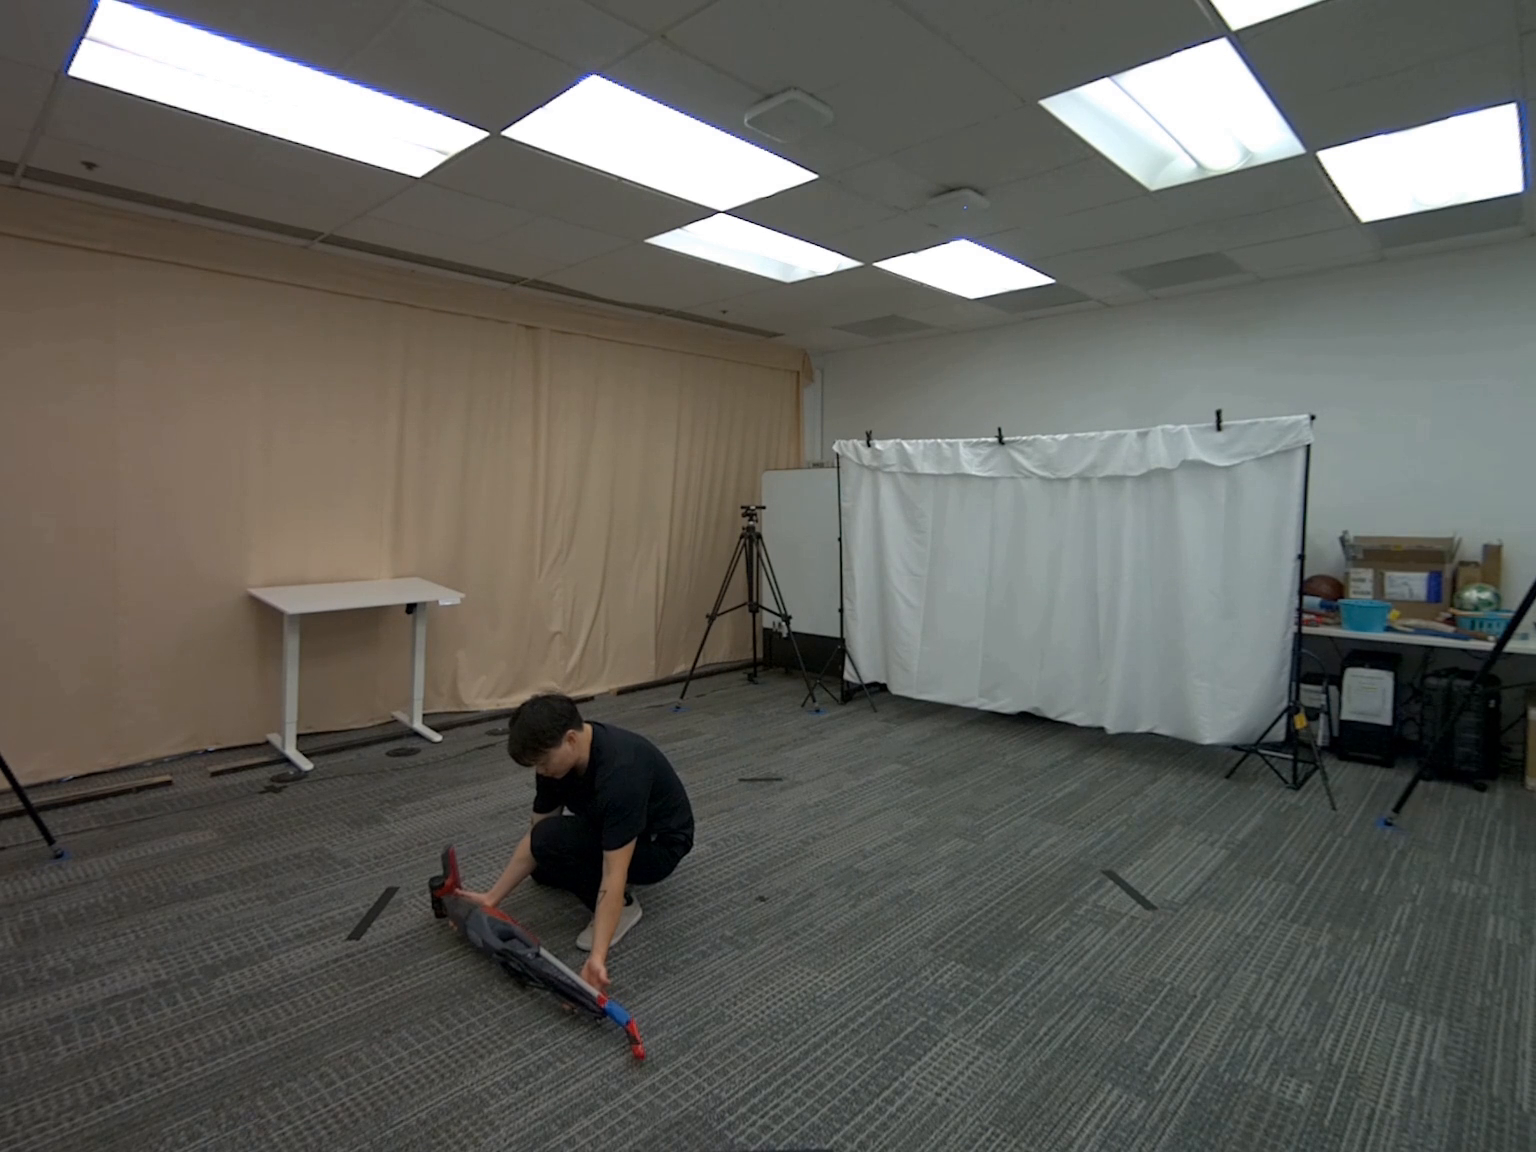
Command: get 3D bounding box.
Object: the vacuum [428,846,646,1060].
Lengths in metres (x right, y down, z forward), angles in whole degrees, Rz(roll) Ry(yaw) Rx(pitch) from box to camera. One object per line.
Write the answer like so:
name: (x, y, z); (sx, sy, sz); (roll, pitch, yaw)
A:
vacuum: (-0.701, 1.111, 2.477); (0.140, 0.250, 1.086); (-18, 20, -41)
